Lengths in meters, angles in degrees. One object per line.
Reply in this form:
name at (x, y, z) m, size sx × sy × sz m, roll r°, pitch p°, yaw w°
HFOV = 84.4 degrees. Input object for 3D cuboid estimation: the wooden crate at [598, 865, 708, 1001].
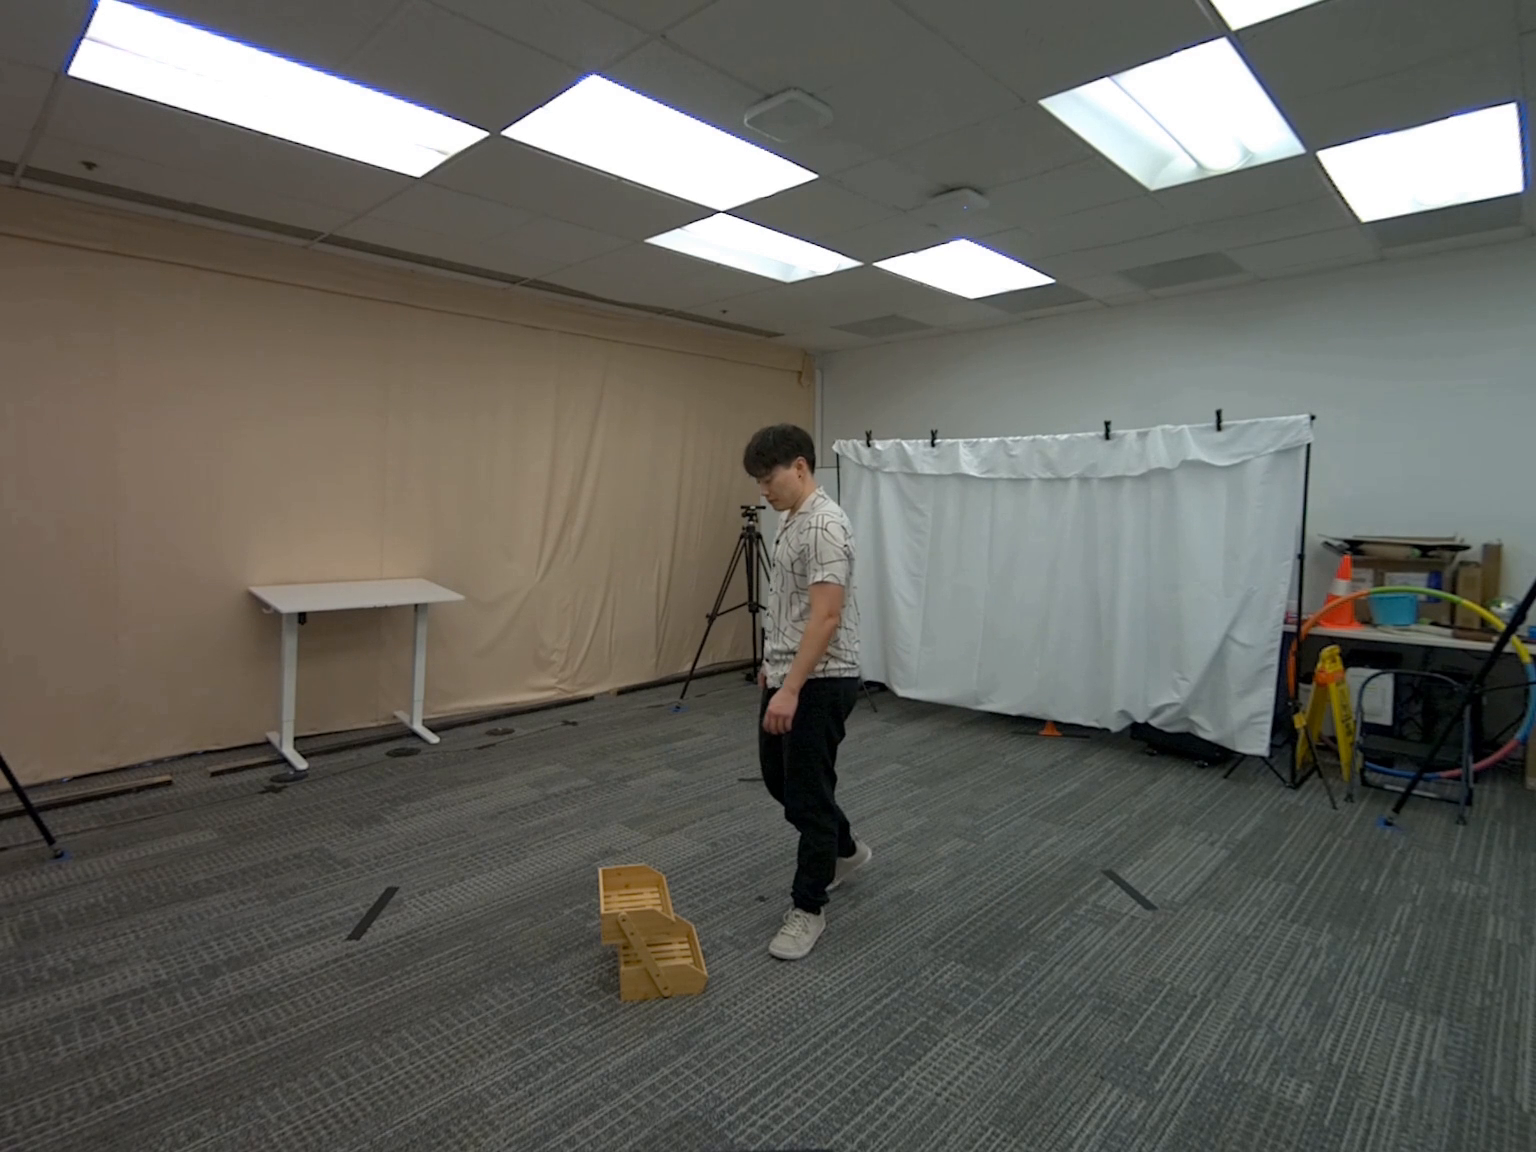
wooden crate at (-0.347, 1.048, 2.523) m, size 0.299 × 0.273 × 0.329 m, roll -1°, pitch 4°, yaw -11°
